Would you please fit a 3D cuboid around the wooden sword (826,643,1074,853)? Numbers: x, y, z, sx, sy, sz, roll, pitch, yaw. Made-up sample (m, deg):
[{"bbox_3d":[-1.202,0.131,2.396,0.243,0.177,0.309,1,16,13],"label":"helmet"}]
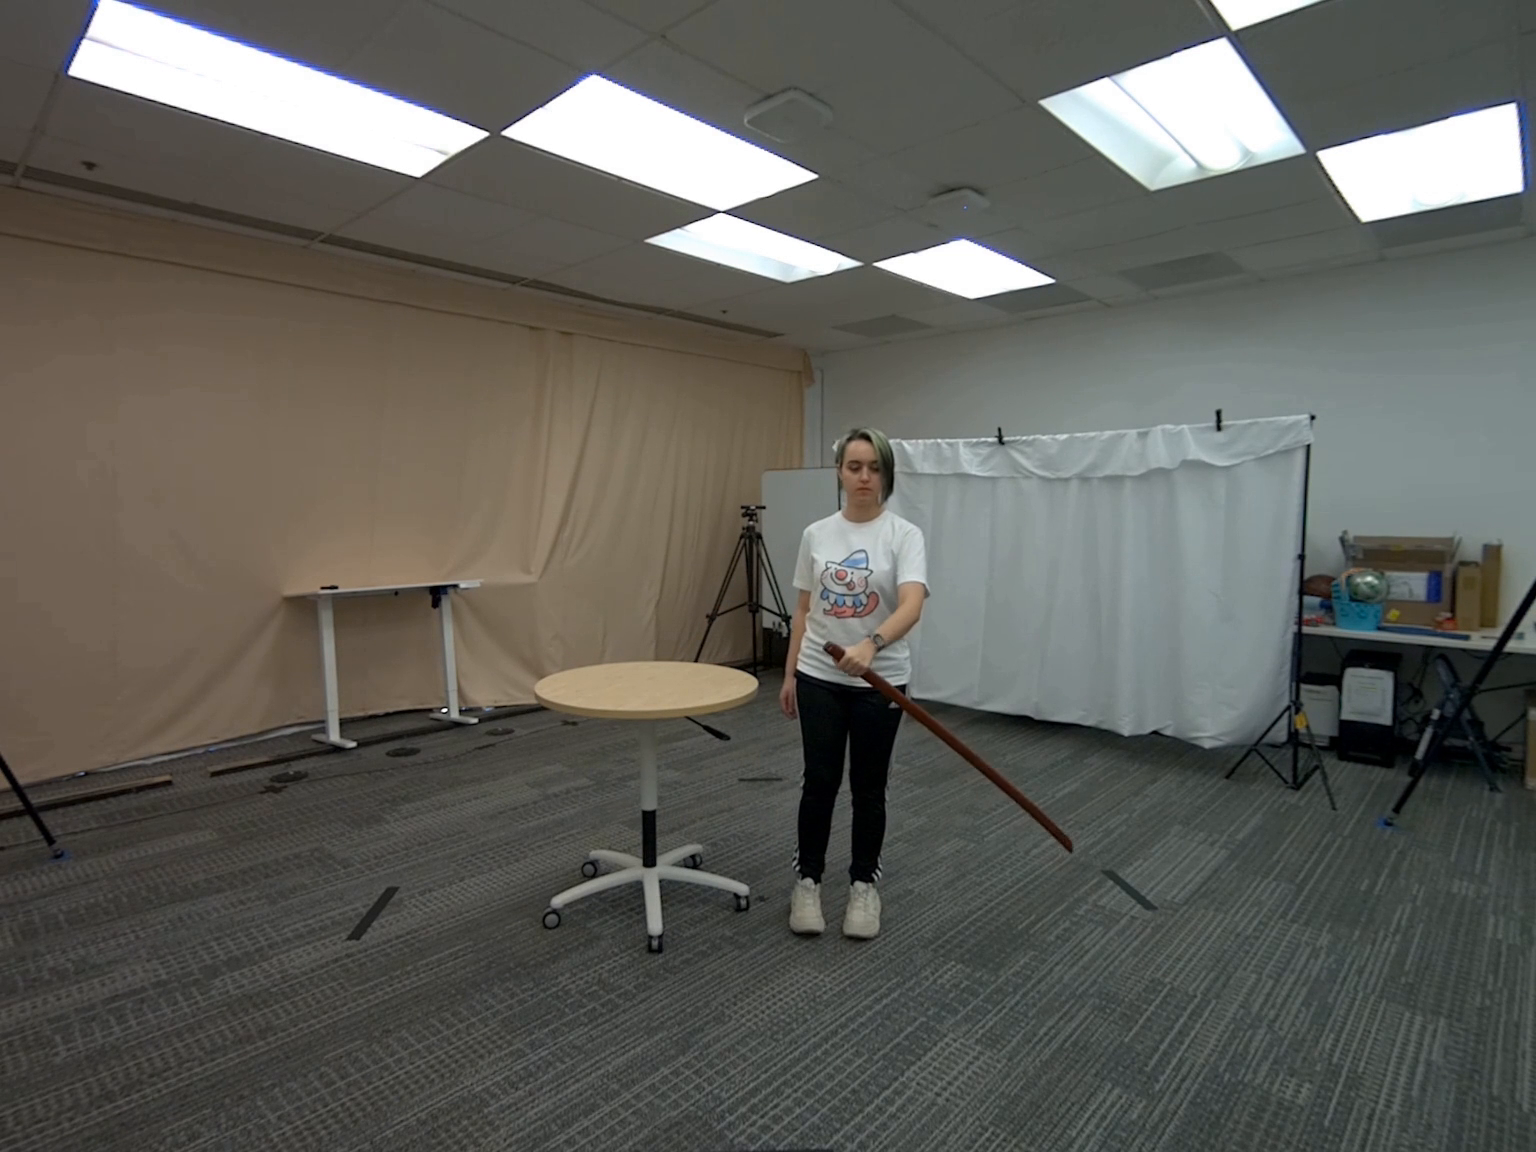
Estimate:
[{"bbox_3d":[0.571,0.520,2.461,1.010,0.024,0.052,42,-26,-12],"label":"wooden sword"}]
